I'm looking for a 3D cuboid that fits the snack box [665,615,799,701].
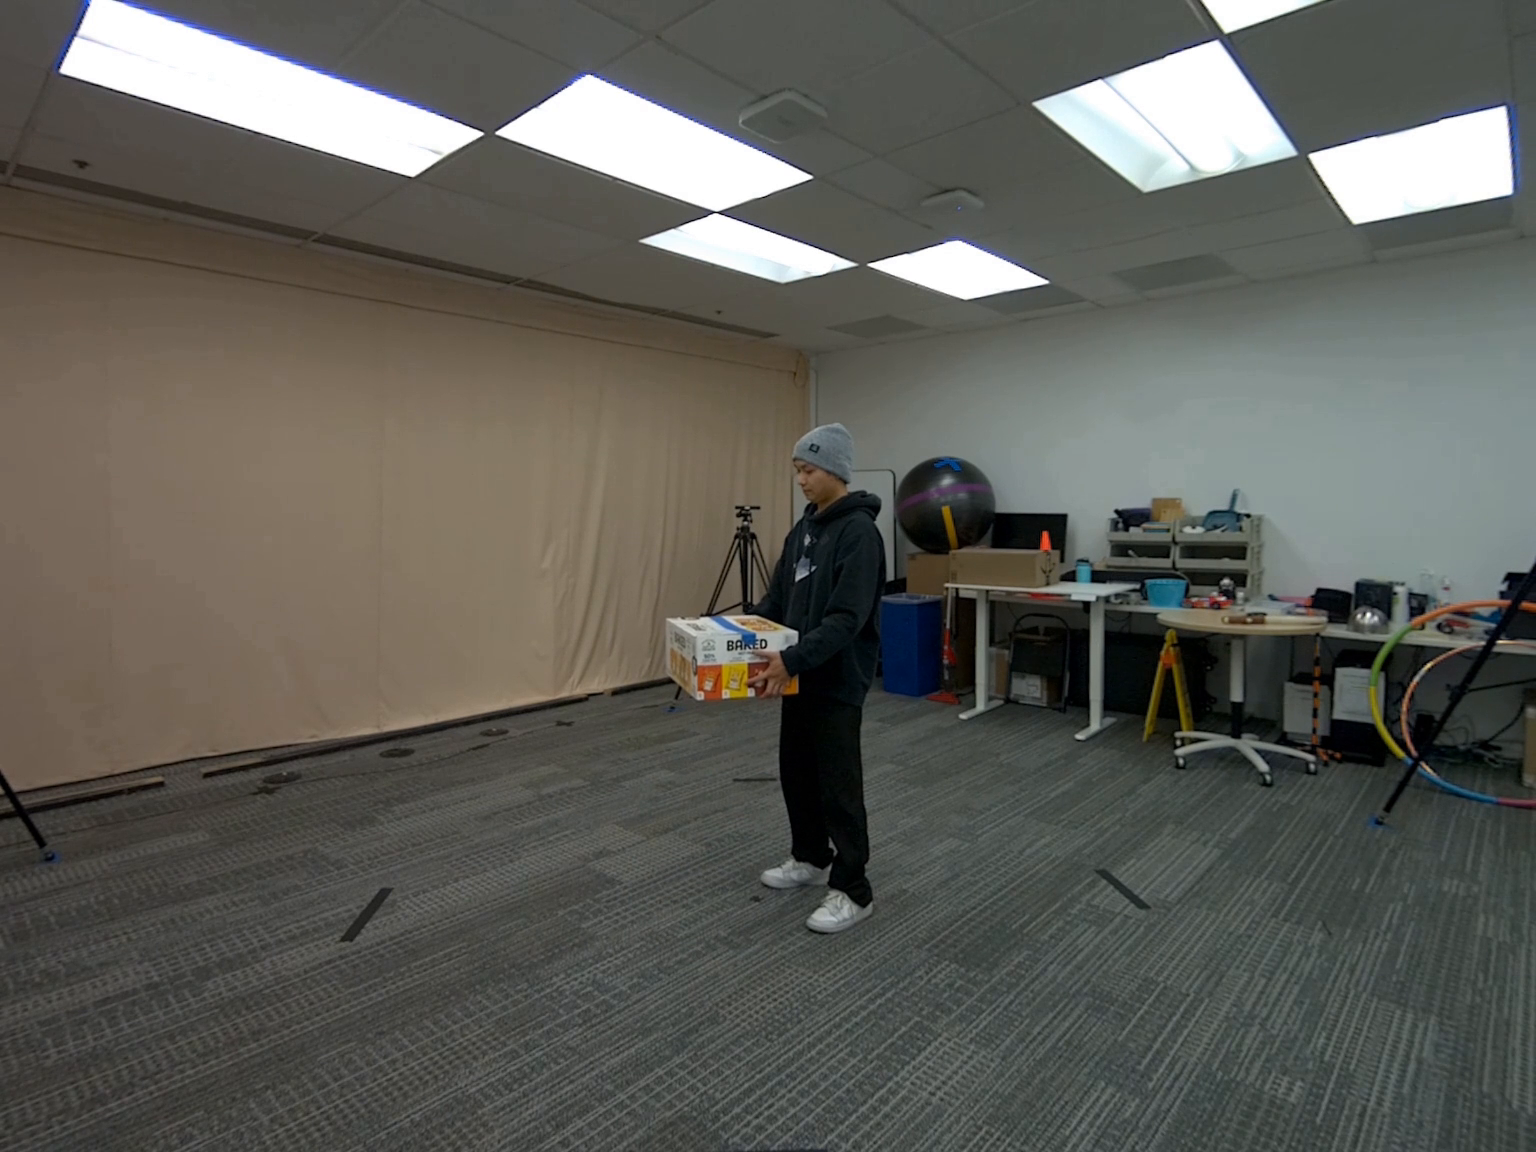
[{"bbox_3d":[-0.131,0.266,2.843,0.334,0.205,0.414,0,4,-19],"label":"snack box"}]
